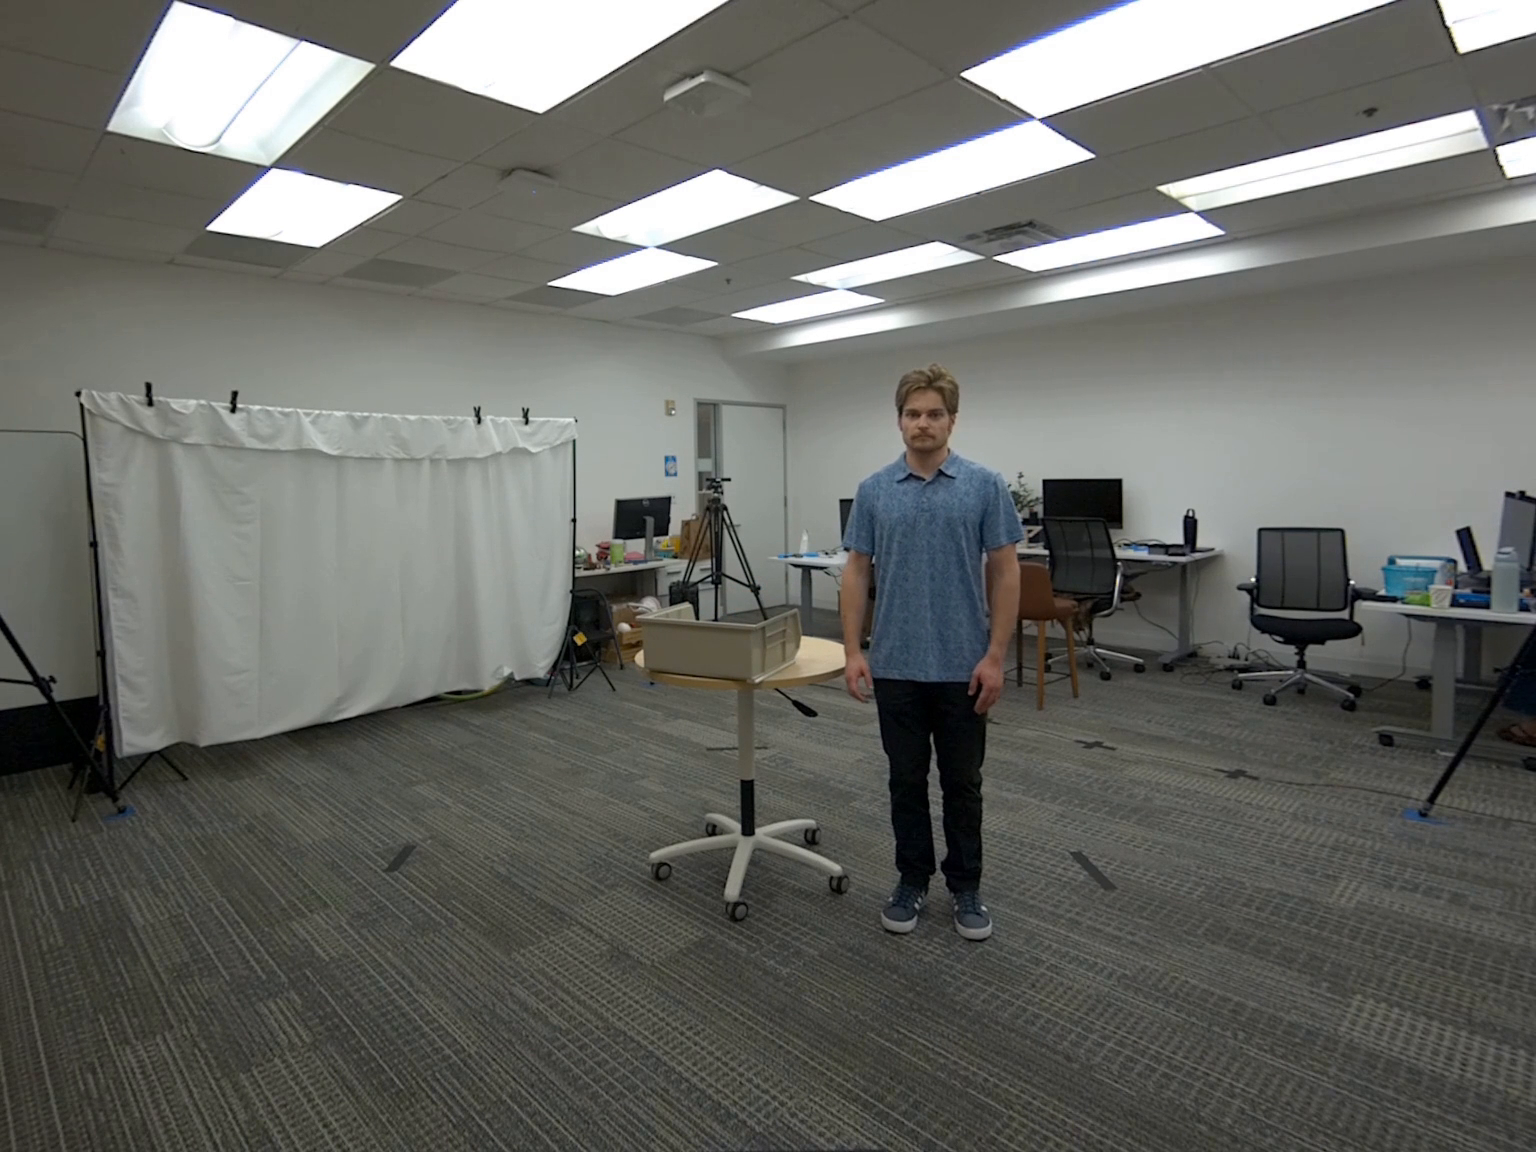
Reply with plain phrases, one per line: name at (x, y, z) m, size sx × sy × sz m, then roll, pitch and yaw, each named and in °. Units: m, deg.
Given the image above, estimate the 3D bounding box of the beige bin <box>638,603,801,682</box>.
beige bin at (-0.154, 0.207, 2.802) m, size 0.433 × 0.188 × 0.370 m, roll 3°, pitch 9°, yaw 26°
